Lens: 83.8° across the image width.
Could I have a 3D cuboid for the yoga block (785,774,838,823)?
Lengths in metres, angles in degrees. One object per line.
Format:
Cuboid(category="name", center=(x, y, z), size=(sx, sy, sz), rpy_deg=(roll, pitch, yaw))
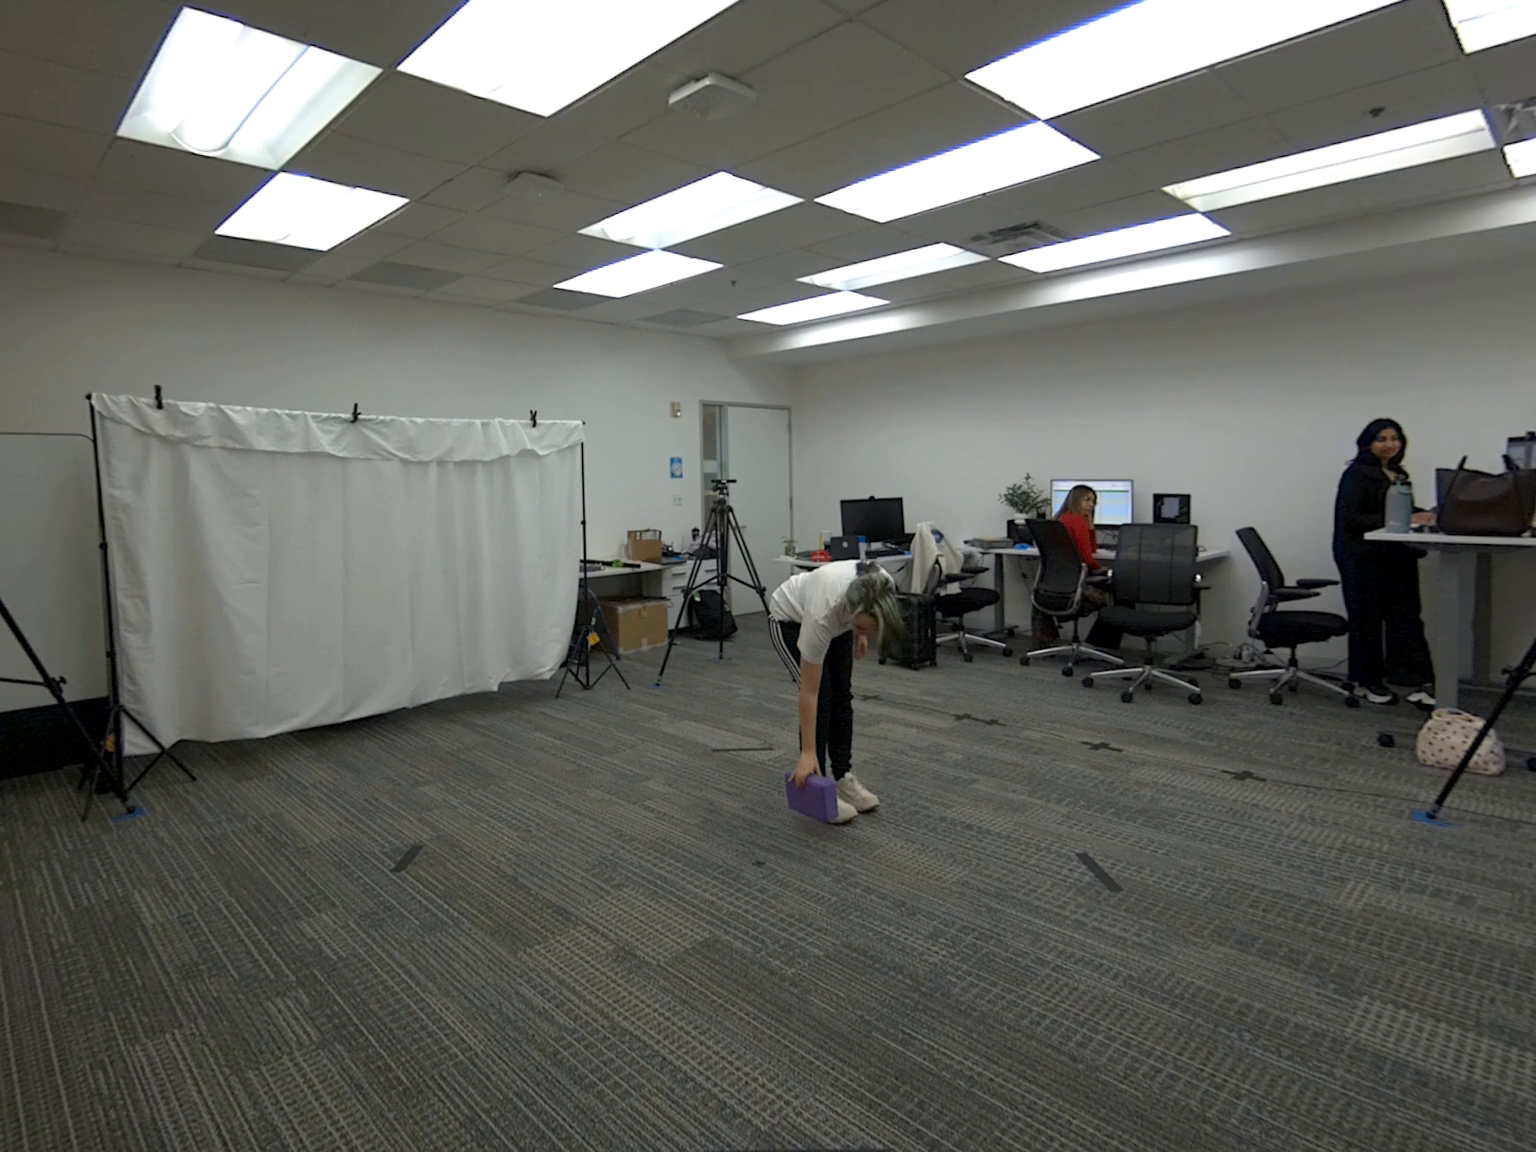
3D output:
Cuboid(category="yoga block", center=(0.171, 0.842, 3.354), size=(0.074, 0.148, 0.235), rpy_deg=(-7, 4, -36))
